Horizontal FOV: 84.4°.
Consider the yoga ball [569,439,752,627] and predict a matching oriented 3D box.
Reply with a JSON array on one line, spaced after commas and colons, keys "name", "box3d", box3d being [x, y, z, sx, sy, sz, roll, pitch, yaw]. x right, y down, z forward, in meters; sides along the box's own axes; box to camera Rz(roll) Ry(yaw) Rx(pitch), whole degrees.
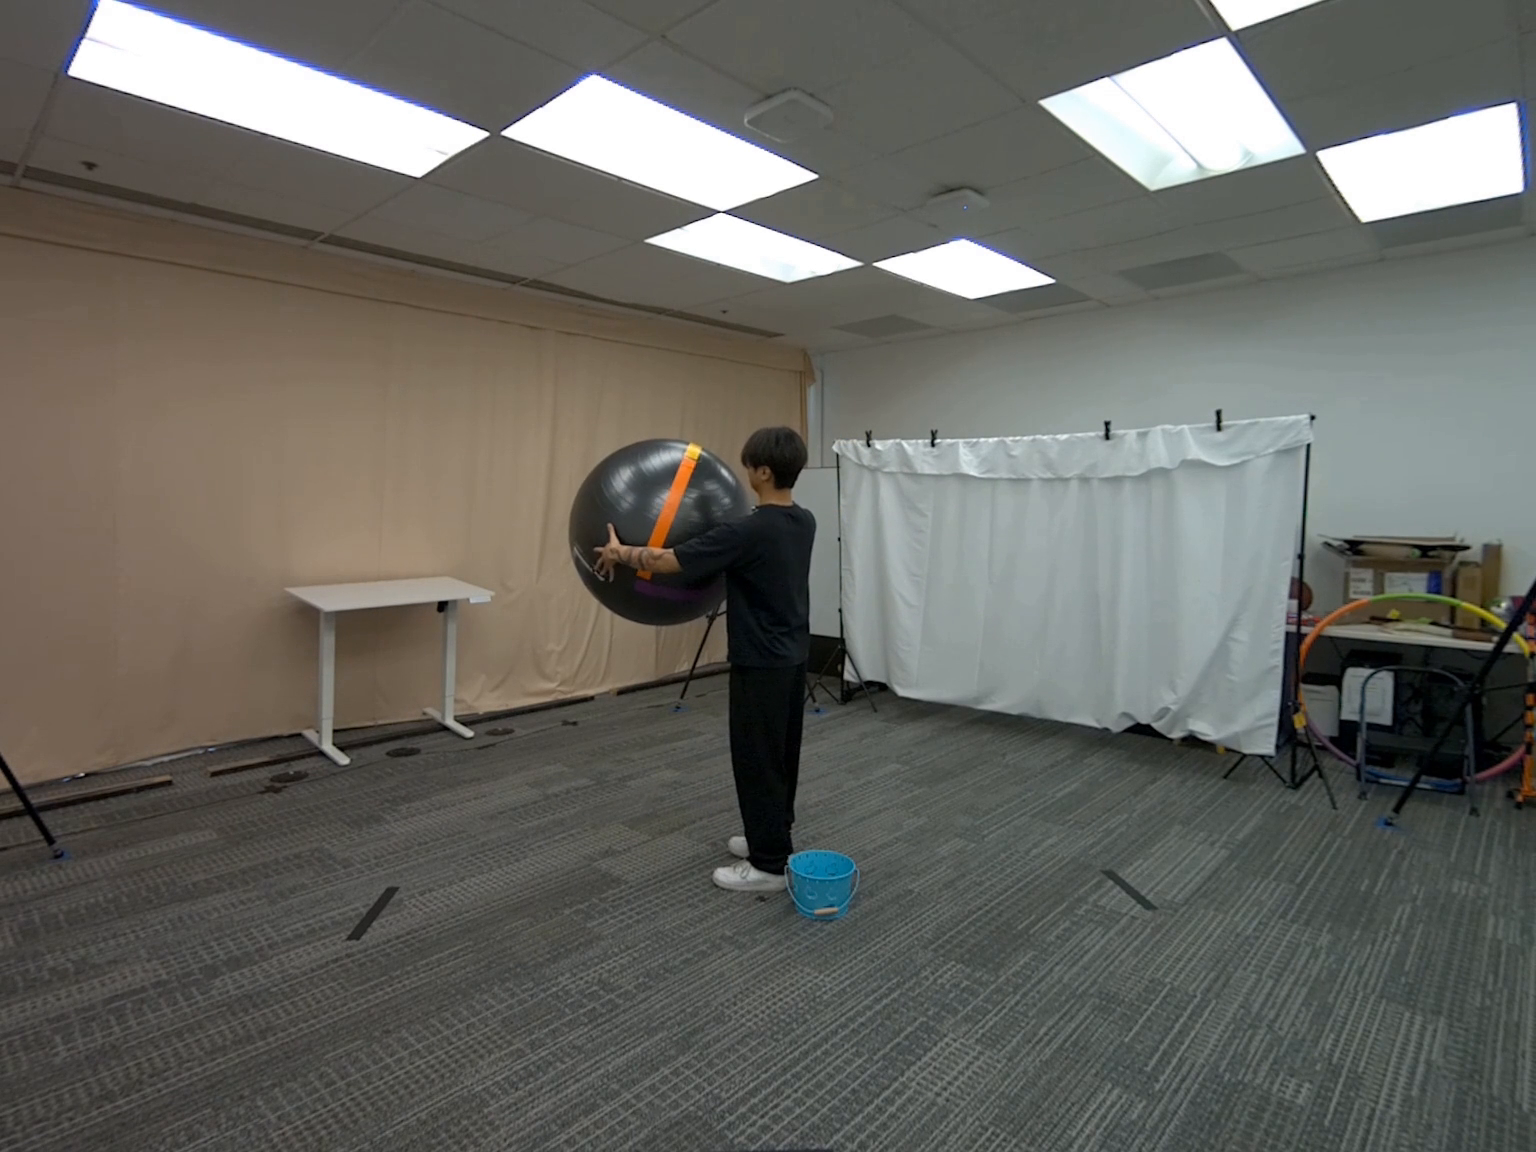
[{"name": "yoga ball", "box3d": [-0.431, -0.174, 3.448, 0.757, 0.756, 0.761, 0, 4, -2]}]
